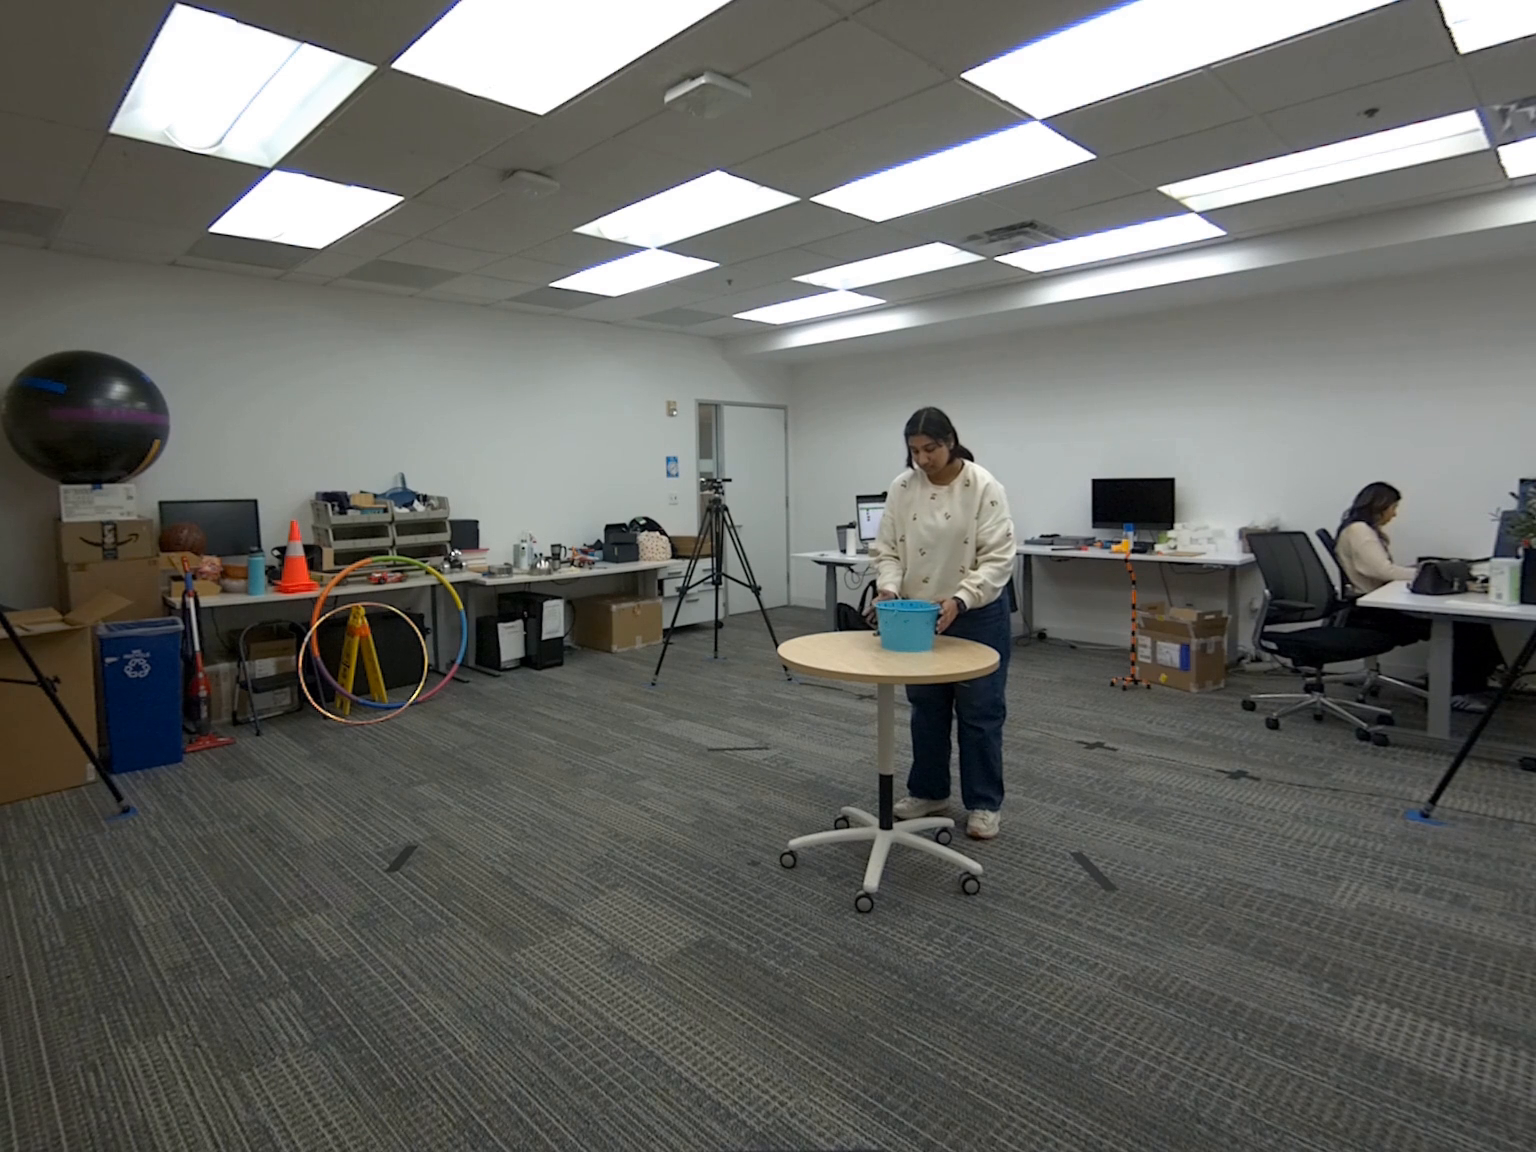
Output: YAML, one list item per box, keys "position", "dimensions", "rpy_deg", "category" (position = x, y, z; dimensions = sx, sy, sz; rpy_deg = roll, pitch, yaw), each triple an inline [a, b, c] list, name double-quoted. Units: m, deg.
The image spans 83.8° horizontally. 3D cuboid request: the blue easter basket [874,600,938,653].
- position: [0.505, 0.183, 3.084]
  dimensions: [0.243, 0.155, 0.245]
  rpy_deg: [1, 6, -2]
  category: "blue easter basket"
